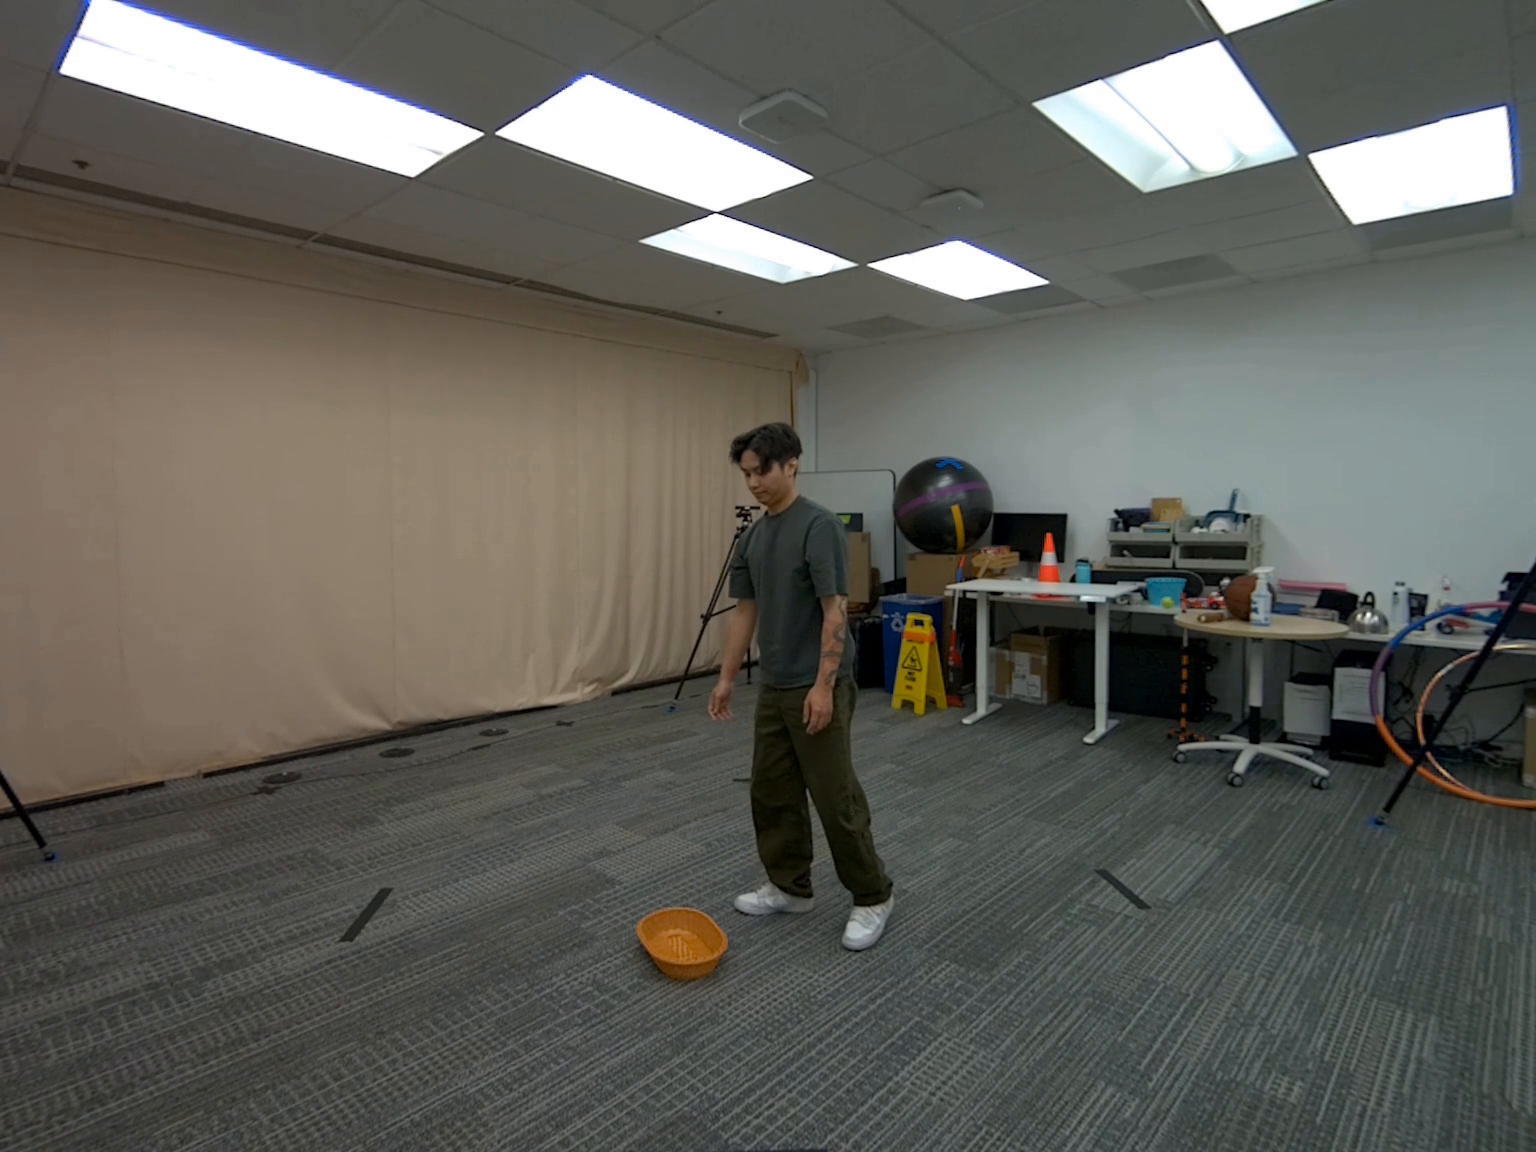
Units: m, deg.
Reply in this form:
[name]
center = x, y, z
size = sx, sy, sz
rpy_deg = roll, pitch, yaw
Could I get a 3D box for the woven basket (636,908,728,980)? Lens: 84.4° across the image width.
[woven basket]
center = -0.268, 1.142, 2.609
size = 0.246, 0.073, 0.360
rpy_deg = -3, 5, -26
